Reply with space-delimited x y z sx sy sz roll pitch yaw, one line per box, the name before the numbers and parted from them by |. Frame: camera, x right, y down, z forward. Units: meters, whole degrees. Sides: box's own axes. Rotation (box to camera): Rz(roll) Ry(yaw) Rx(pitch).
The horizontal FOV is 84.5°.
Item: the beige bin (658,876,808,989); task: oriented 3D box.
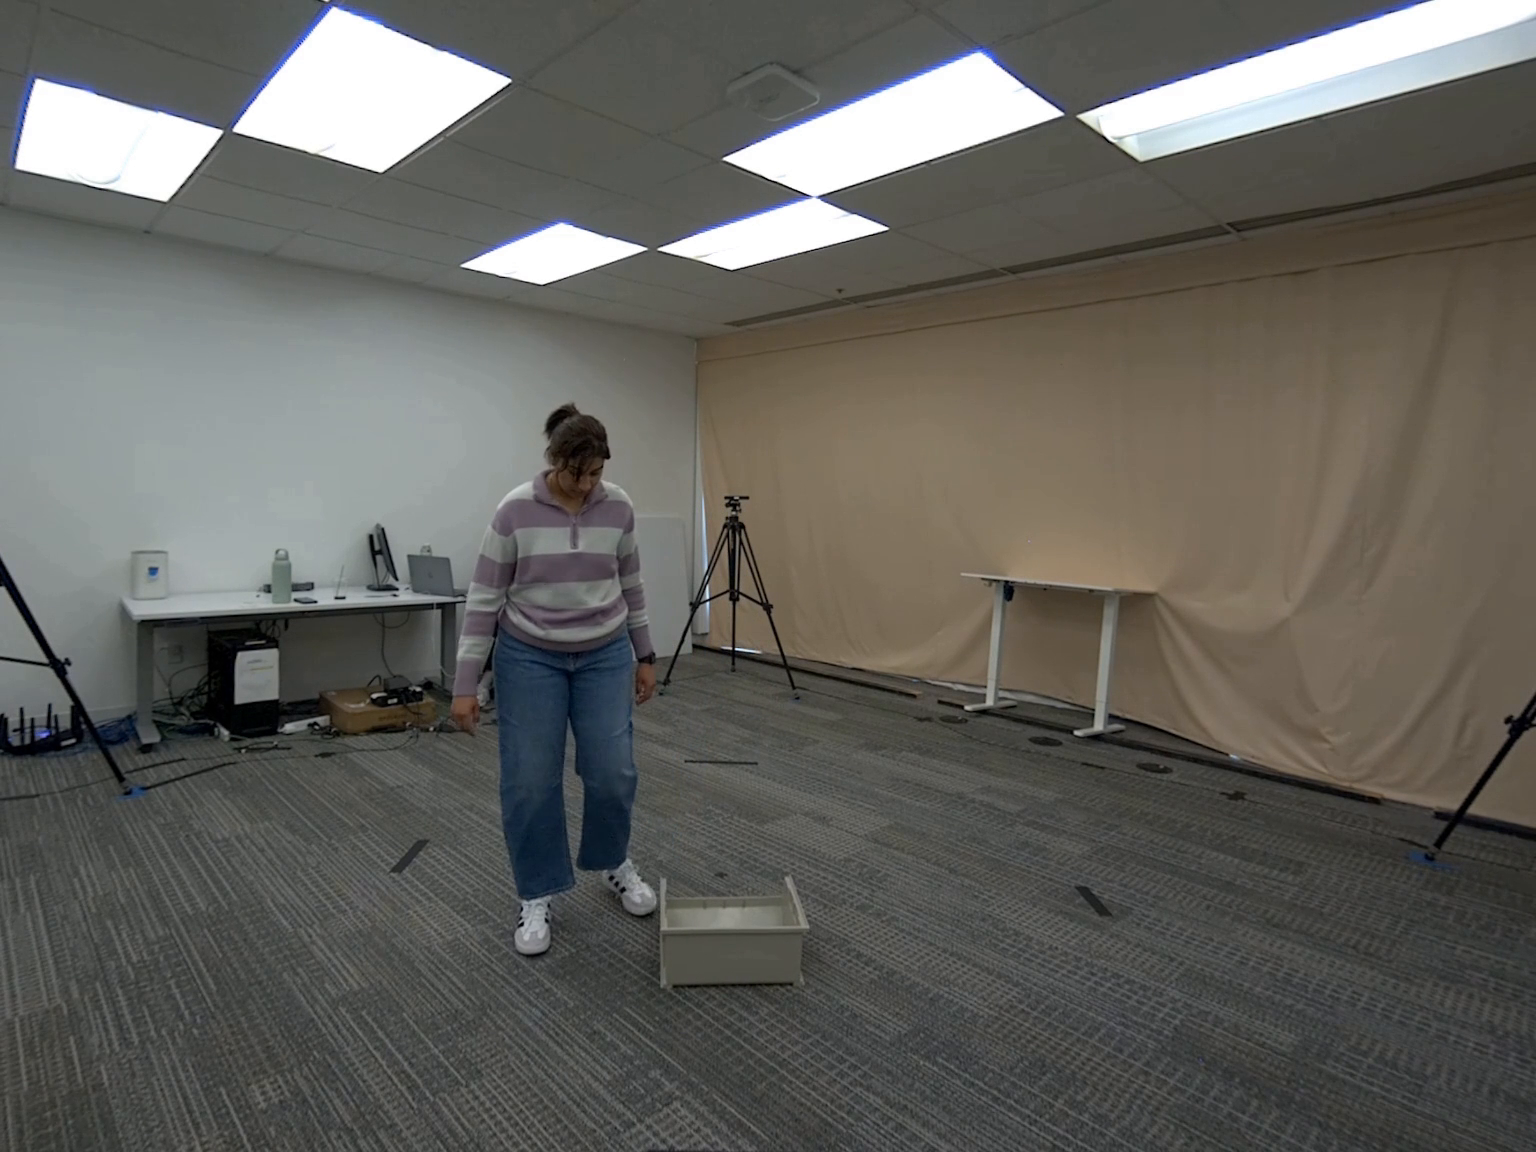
beige bin | -0.125 1.070 2.557 0.420 0.188 0.380 1 5 -7
